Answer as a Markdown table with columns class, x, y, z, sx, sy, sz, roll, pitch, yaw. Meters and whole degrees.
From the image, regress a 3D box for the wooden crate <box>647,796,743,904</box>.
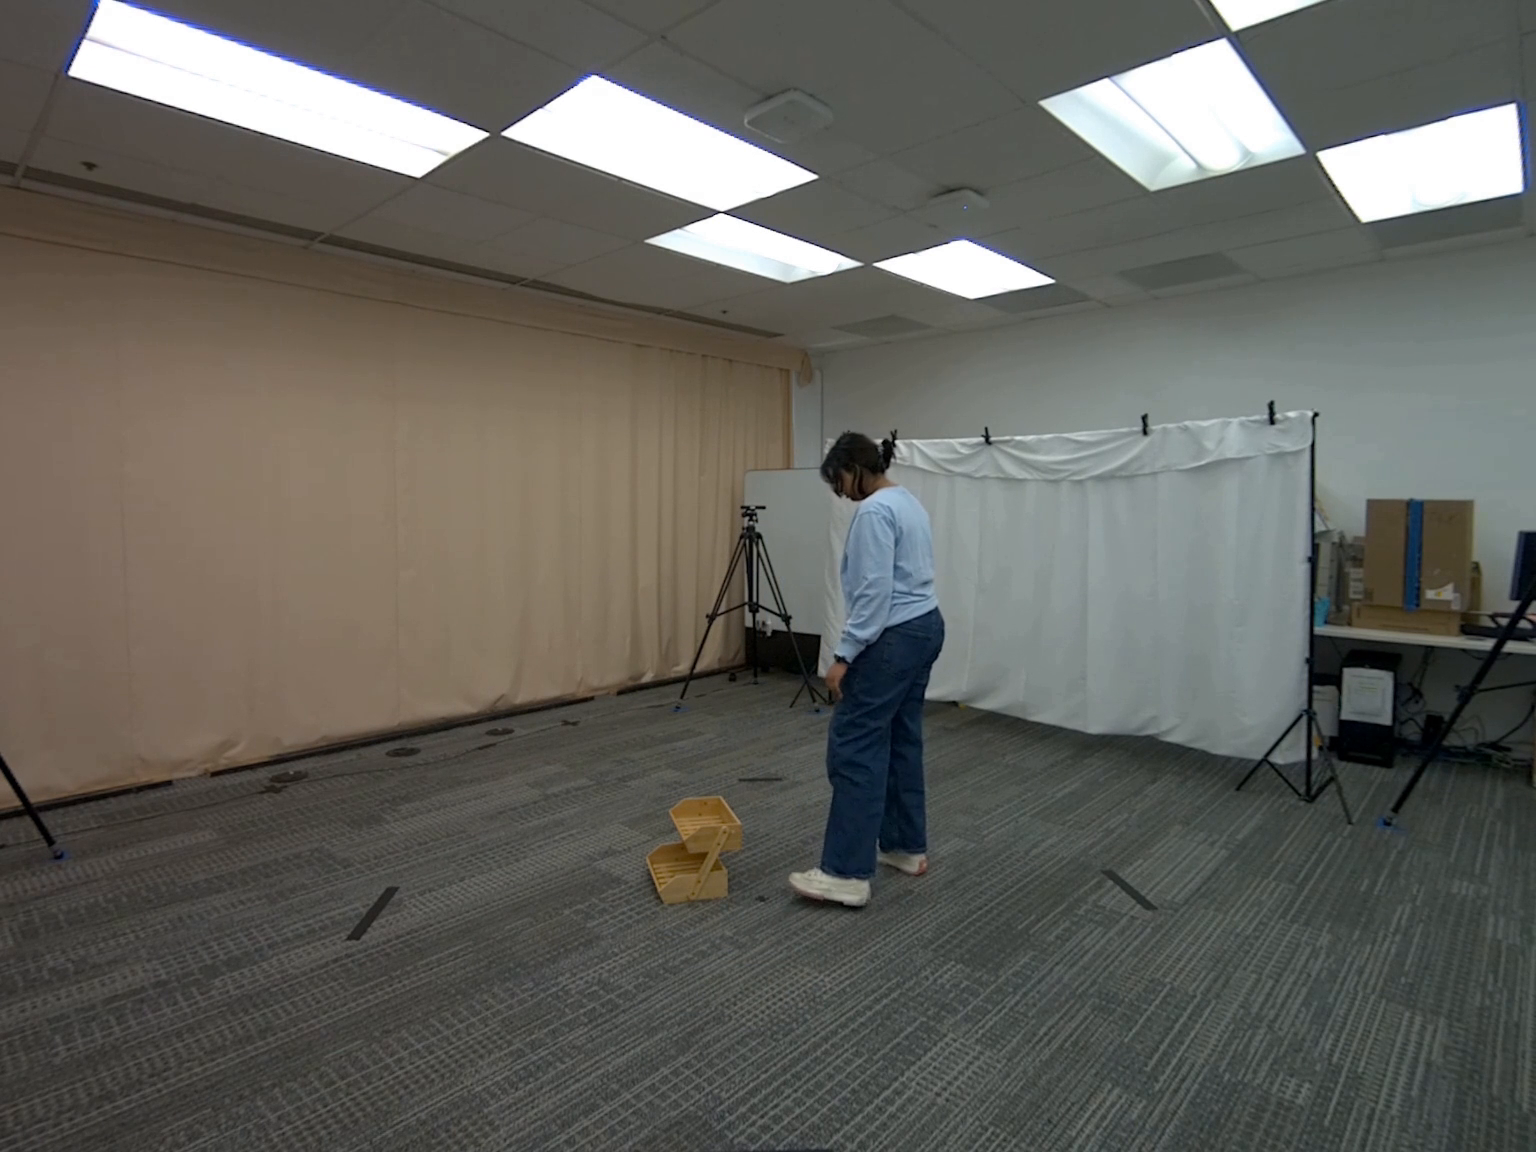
| class | x | y | z | sx | sy | sz | roll | pitch | yaw |
| --- | --- | --- | --- | --- | --- | --- | --- | --- | --- |
| wooden crate | -0.285 | 1.003 | 3.119 | 0.297 | 0.273 | 0.330 | -1 | 4 | -16 |
